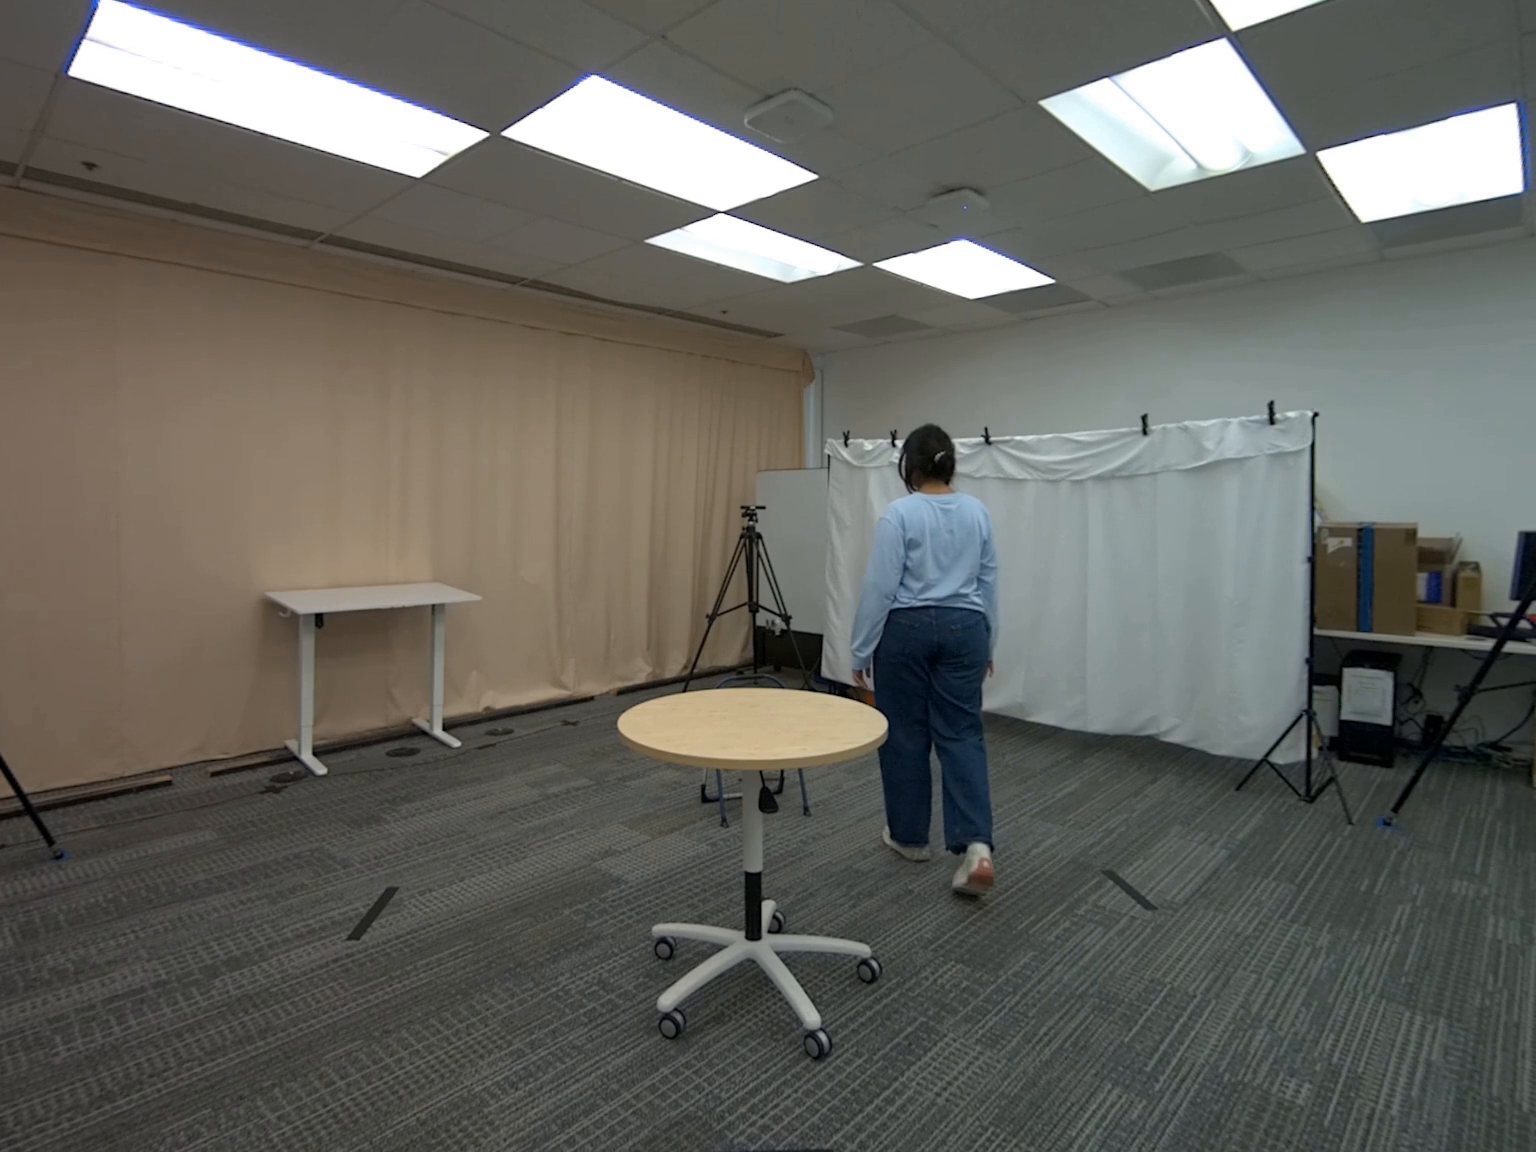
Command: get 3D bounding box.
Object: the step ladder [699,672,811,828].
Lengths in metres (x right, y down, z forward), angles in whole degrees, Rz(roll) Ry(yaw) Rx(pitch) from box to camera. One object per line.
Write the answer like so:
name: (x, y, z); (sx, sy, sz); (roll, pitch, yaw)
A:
step ladder: (-0.064, 0.770, 3.867); (0.422, 0.605, 0.357); (-1, 3, -21)
